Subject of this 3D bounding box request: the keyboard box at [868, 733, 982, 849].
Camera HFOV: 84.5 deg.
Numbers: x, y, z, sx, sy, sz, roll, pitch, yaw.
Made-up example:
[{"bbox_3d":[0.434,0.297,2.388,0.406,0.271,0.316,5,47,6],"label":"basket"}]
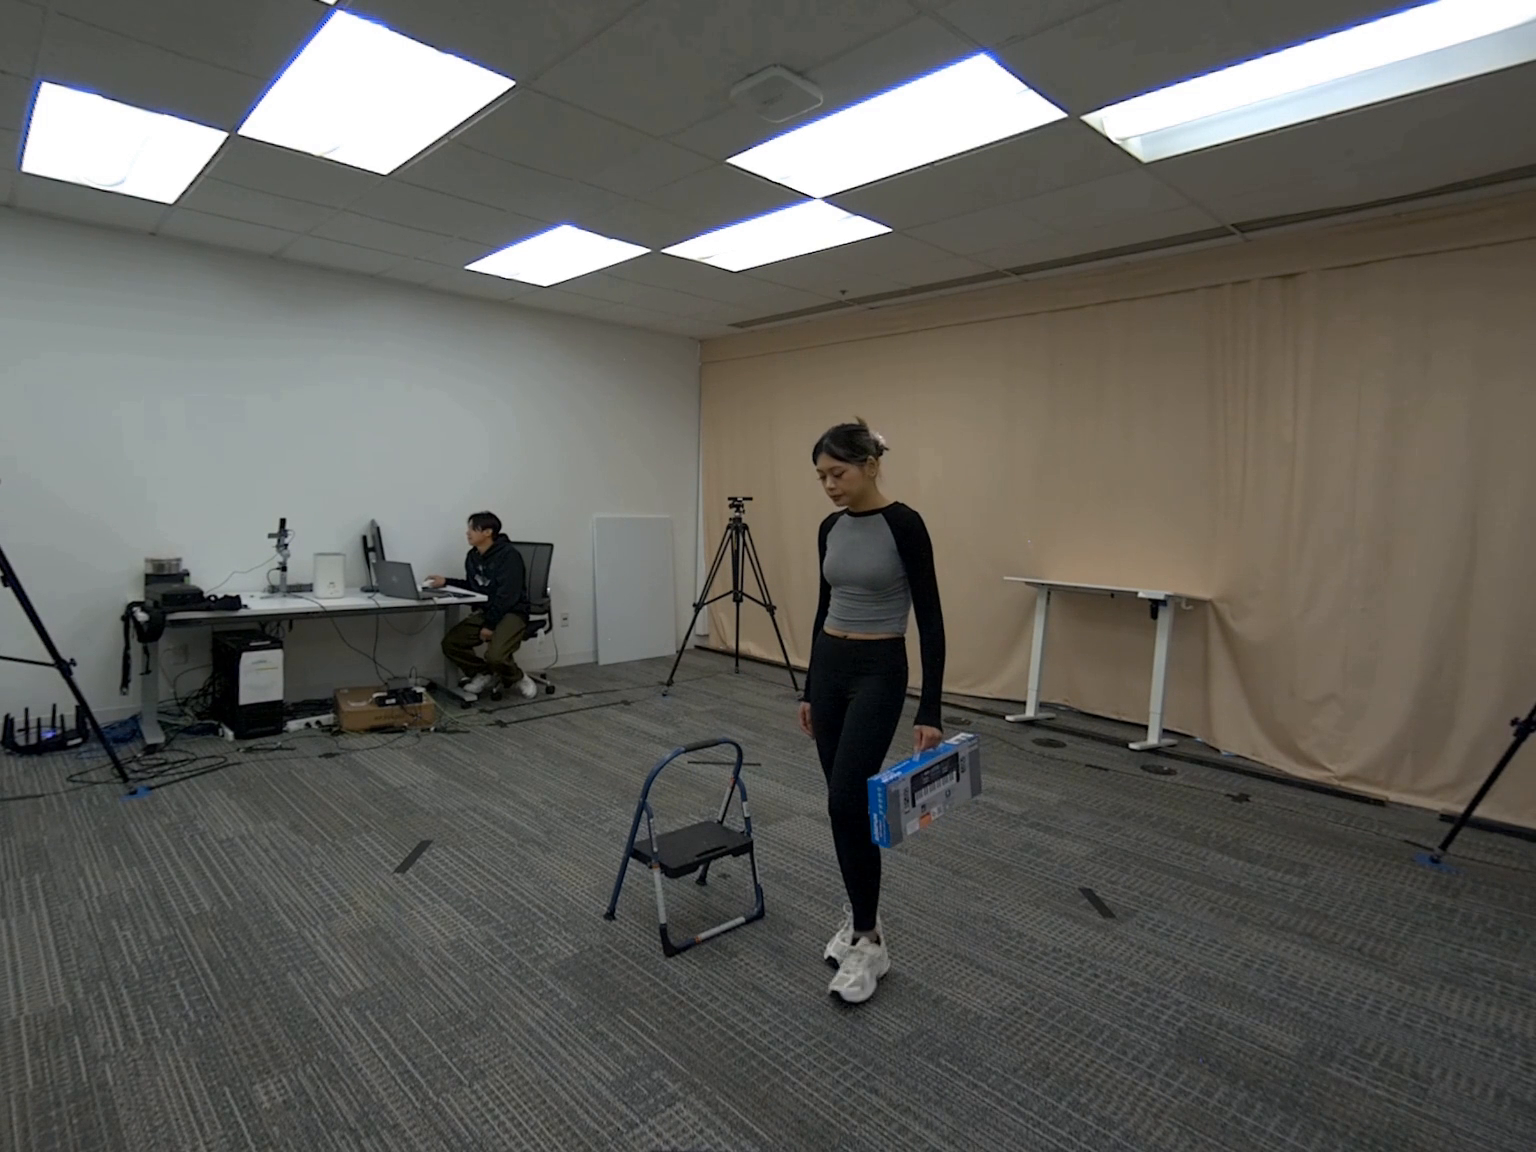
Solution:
[{"bbox_3d":[0.424,0.572,2.279,0.428,0.175,0.060,-12,9,-44],"label":"keyboard box"}]
